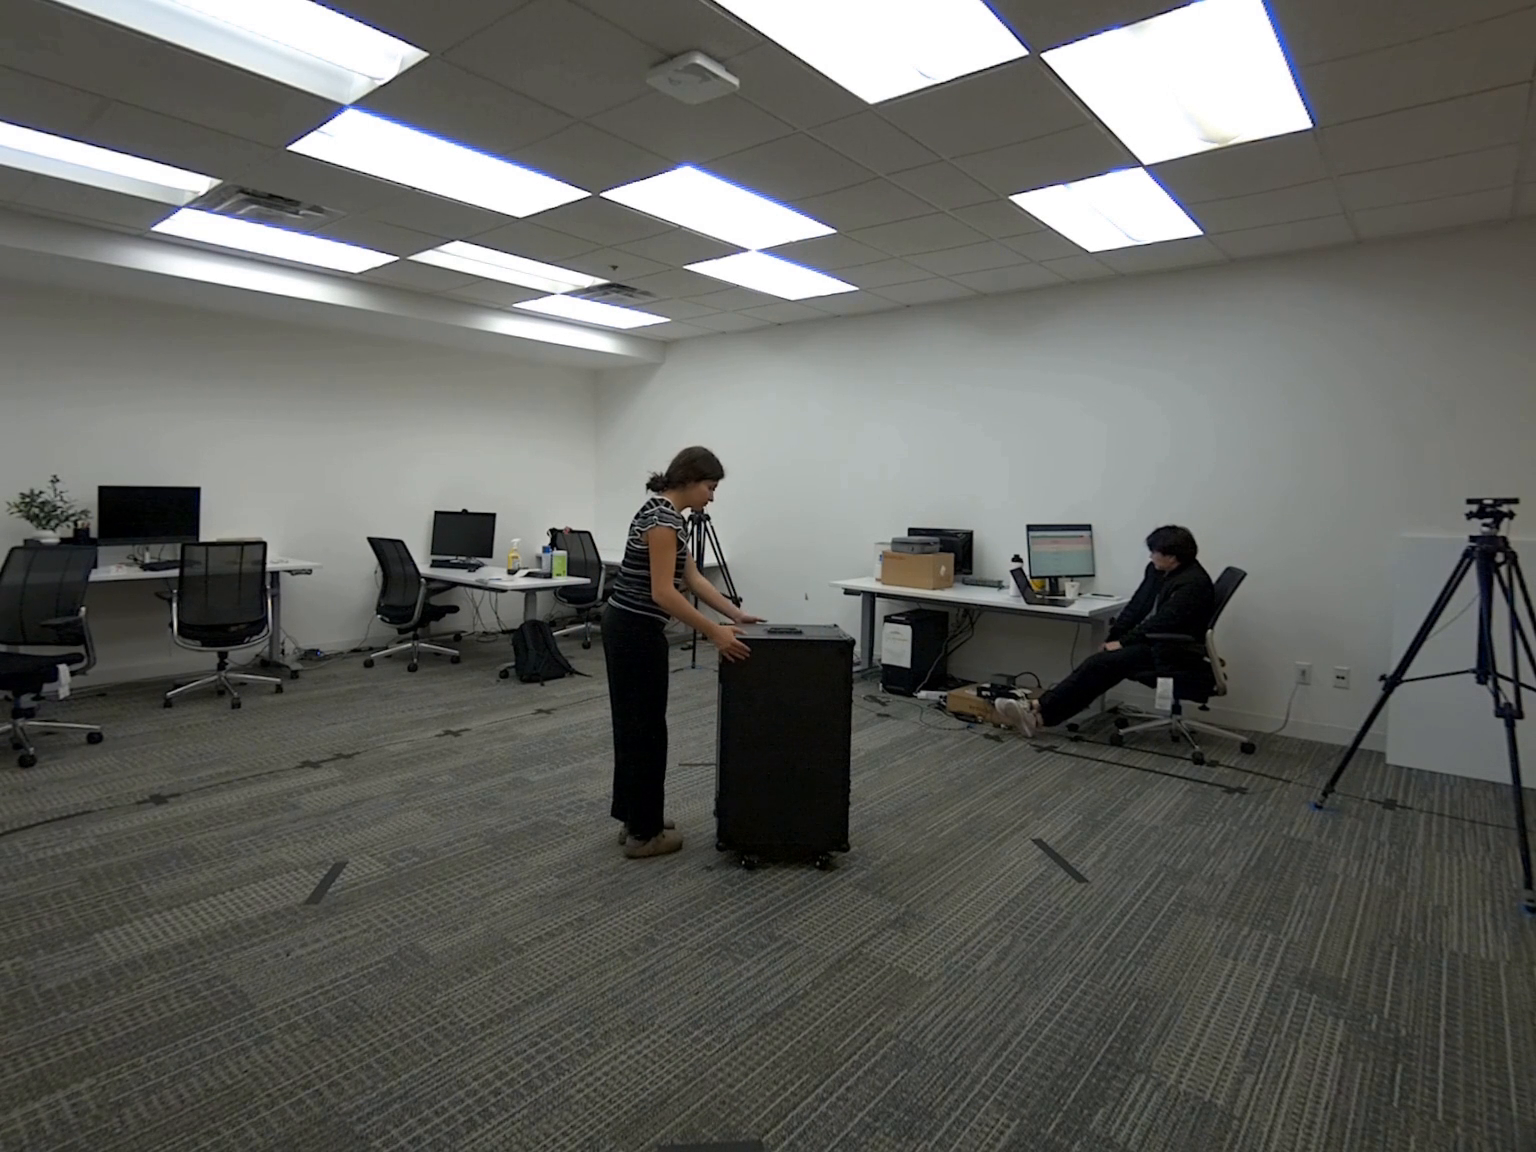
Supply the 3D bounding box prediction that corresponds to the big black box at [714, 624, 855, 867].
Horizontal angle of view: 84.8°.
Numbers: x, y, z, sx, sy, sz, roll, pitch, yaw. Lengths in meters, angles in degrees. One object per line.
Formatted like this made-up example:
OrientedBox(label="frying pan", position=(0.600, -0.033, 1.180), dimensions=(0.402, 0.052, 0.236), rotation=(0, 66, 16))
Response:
OrientedBox(label="big black box", position=(0.034, 0.641, 3.274), dimensions=(0.520, 0.860, 0.398), rotation=(1, 2, -3))
